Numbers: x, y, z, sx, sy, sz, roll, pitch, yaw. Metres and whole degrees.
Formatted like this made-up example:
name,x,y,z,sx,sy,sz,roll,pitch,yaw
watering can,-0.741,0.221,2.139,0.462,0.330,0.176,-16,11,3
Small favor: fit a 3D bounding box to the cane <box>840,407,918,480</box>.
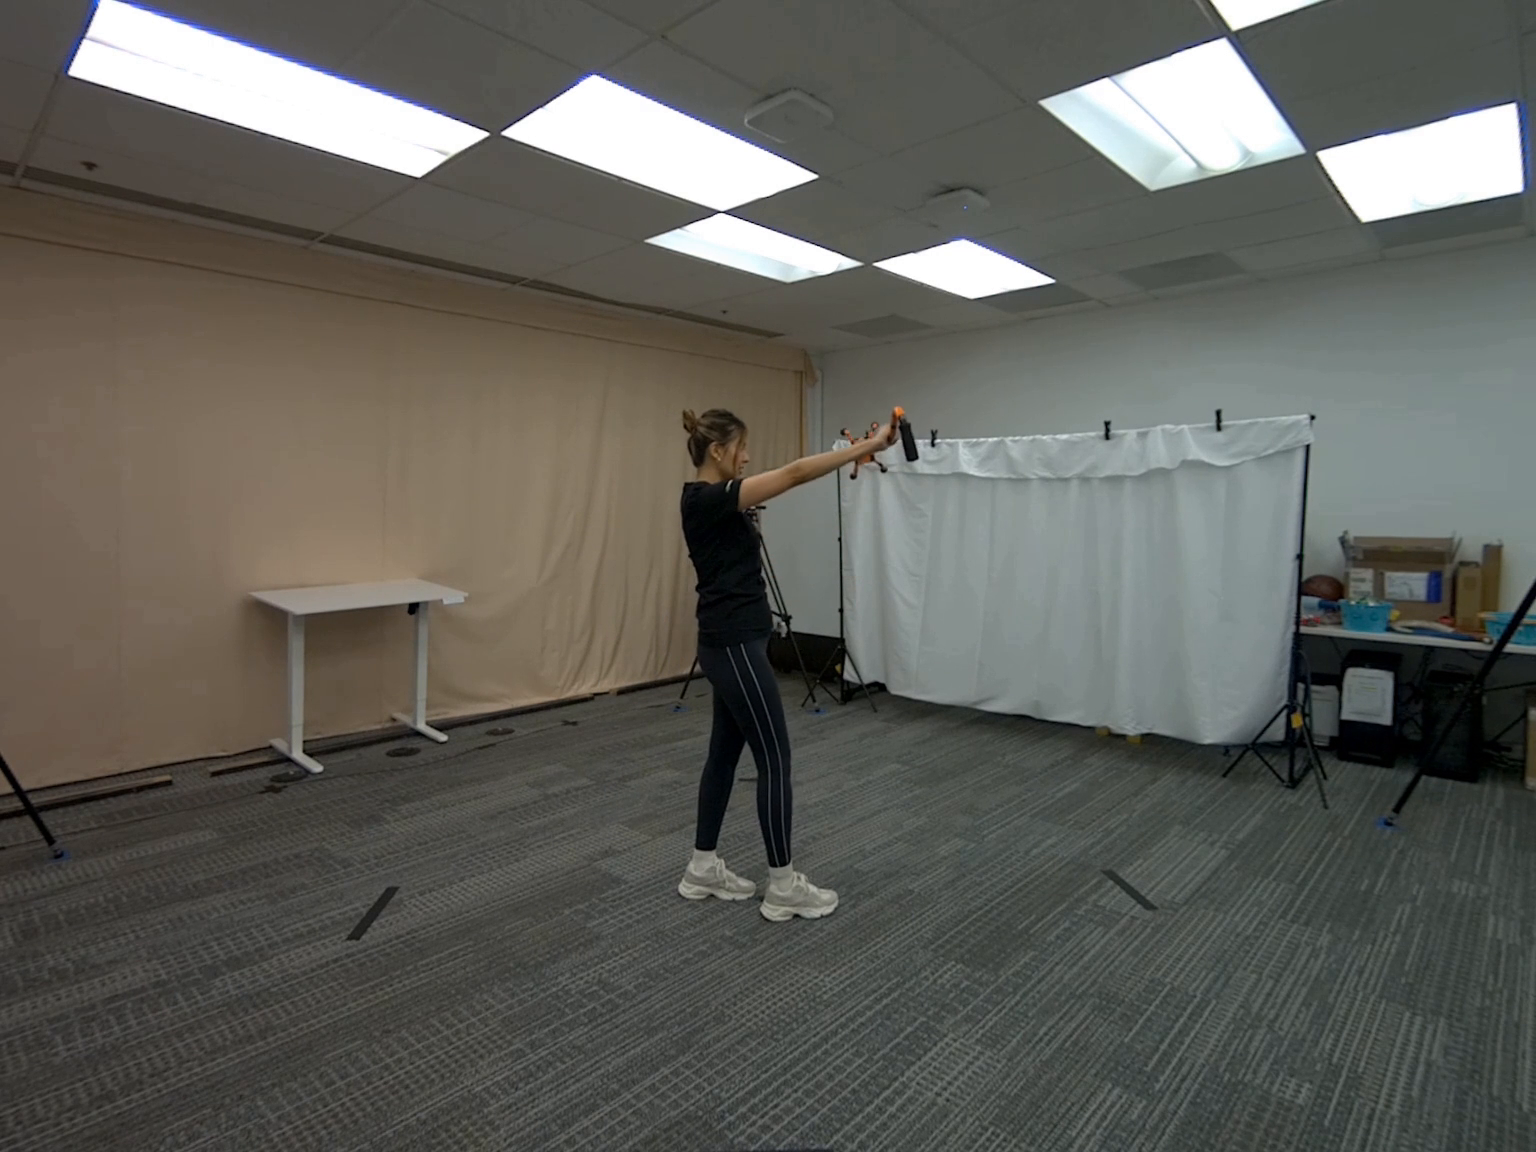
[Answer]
name,x,y,z,sx,sy,sz,roll,pitch,yaw
cane,0.398,-0.462,2.853,0.151,0.206,0.911,-12,4,-2
